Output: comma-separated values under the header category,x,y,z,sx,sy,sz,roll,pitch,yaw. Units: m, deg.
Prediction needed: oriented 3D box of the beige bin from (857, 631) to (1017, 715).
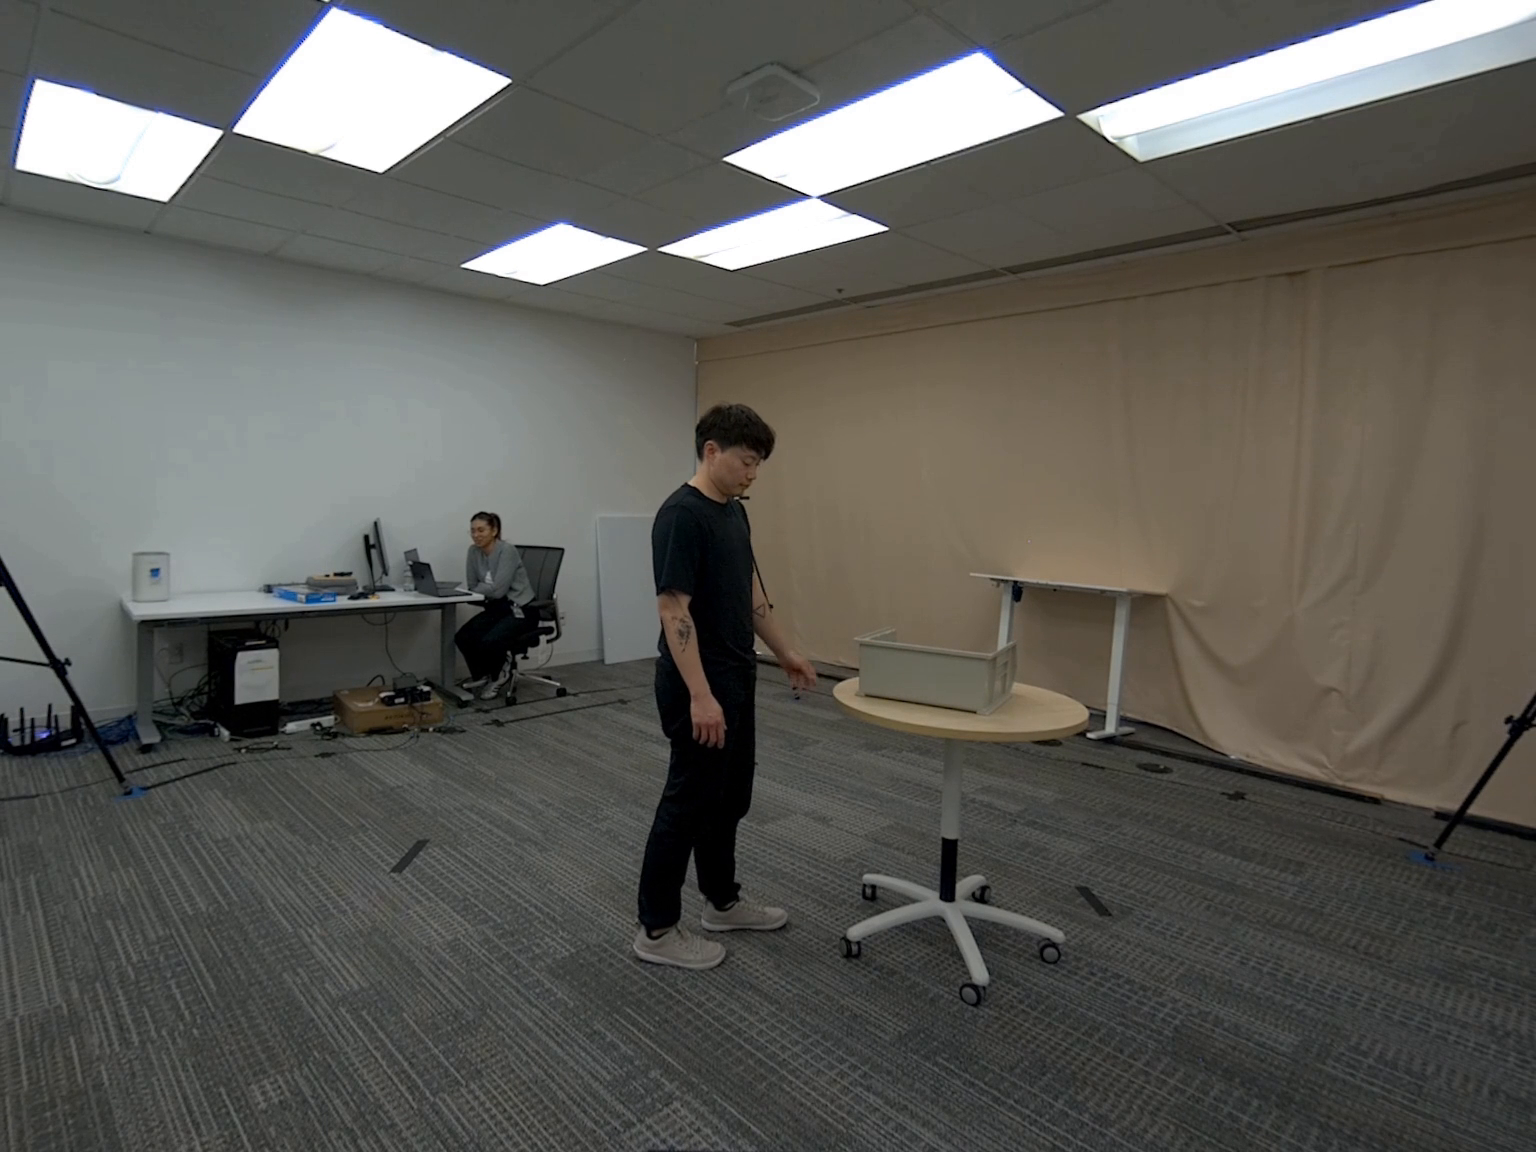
category,x,y,z,sx,sy,sz,roll,pitch,yaw
beige bin,0.530,0.288,2.659,0.432,0.188,0.370,5,7,29
